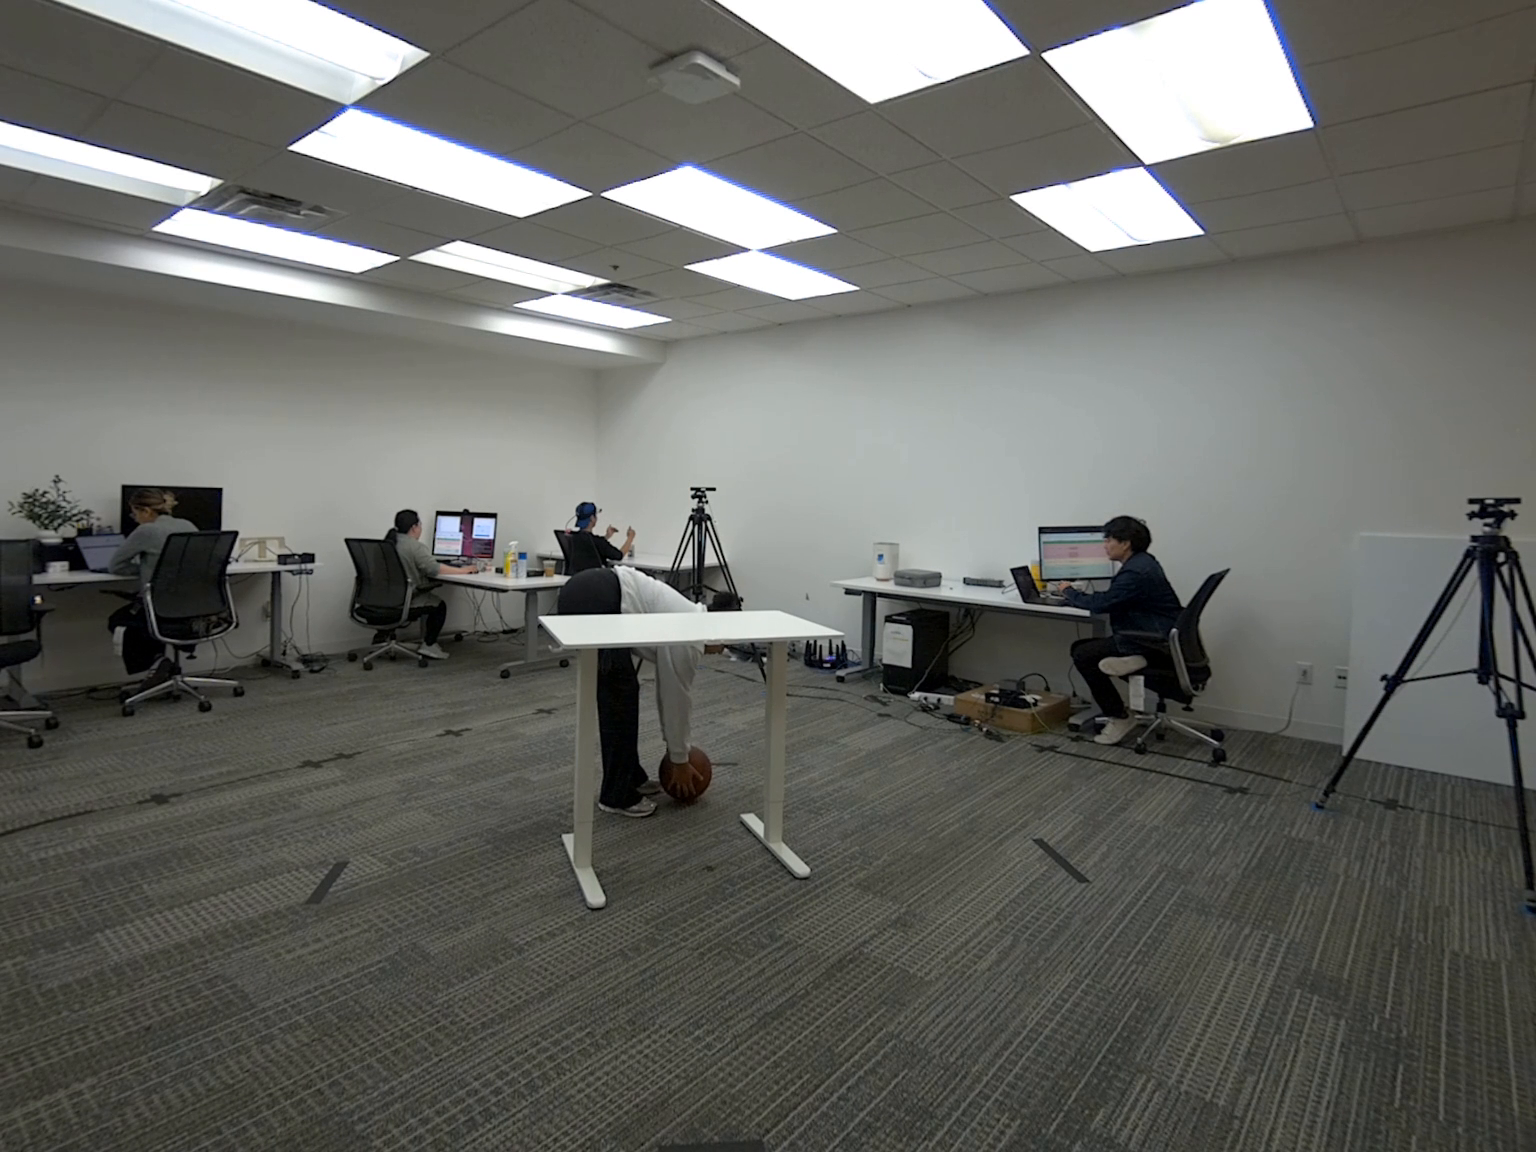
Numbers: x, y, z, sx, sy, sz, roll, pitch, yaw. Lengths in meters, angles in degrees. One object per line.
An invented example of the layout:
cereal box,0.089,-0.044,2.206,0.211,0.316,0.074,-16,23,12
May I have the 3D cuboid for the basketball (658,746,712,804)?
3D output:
basketball,-0.383,0.859,3.784,0.235,0.235,0.237,1,4,-2
